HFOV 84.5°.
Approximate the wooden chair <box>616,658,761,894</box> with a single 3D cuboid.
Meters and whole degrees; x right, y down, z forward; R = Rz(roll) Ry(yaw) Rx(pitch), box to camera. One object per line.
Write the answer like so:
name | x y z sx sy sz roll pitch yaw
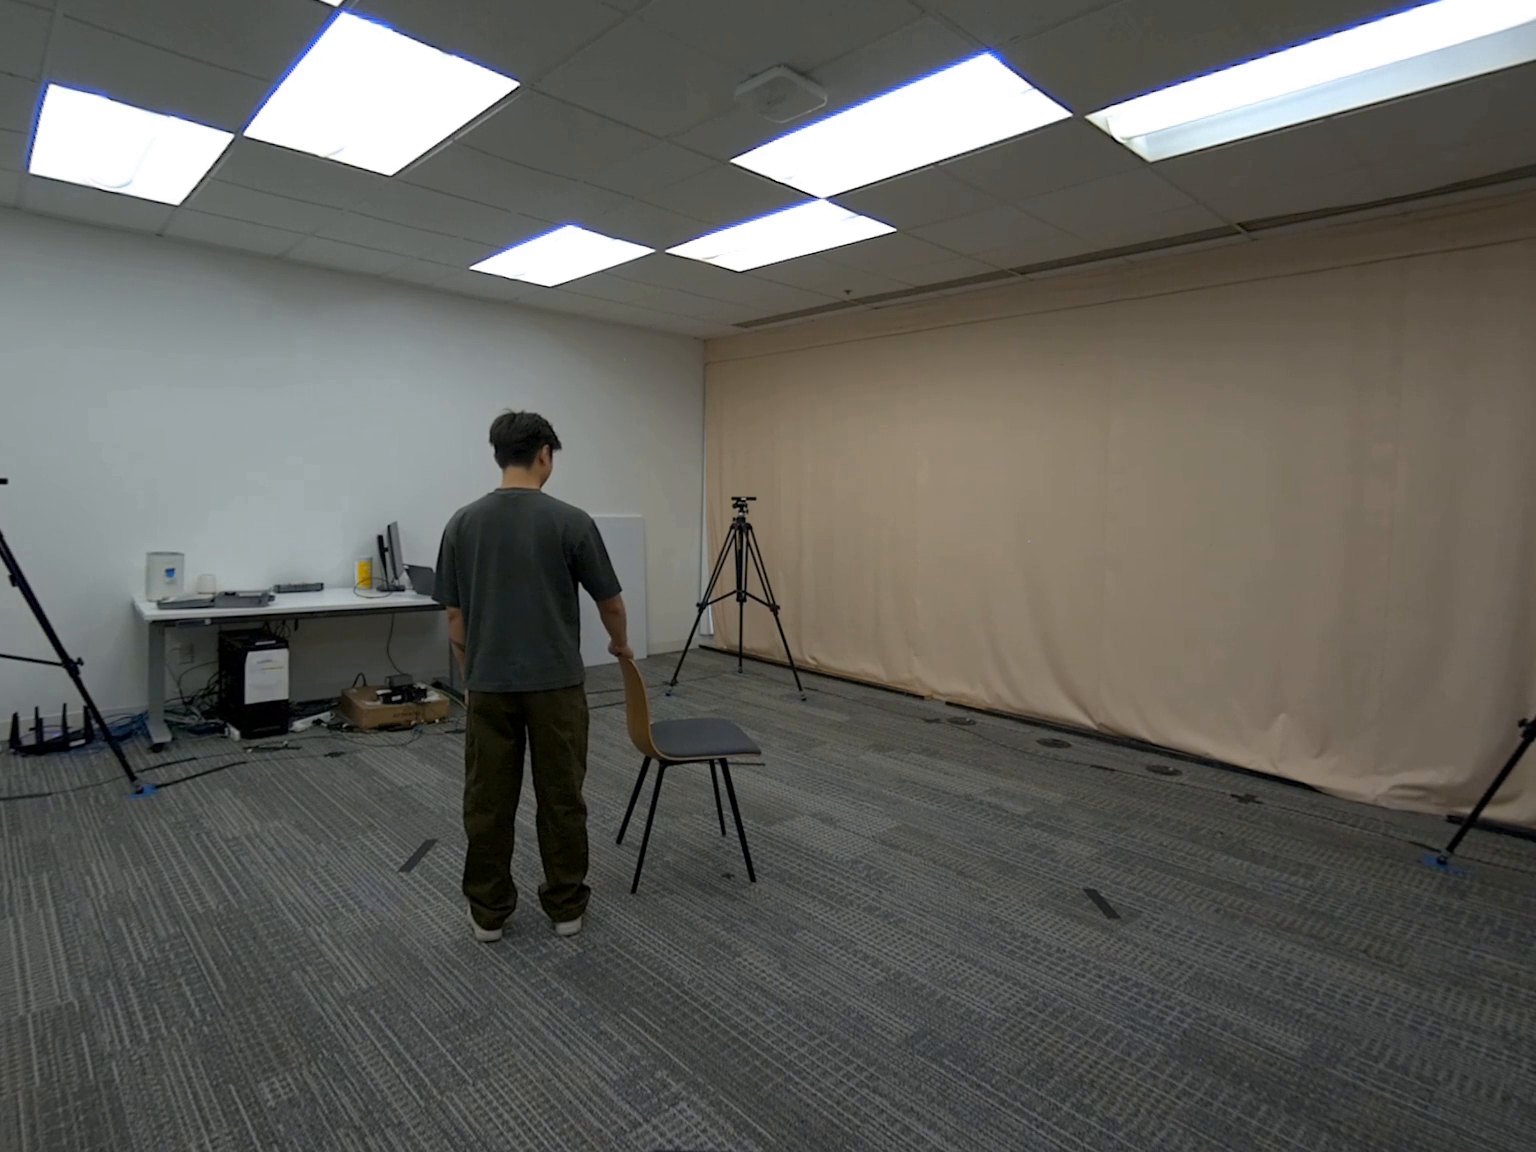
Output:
wooden chair | -0.314 0.668 3.187 0.517 0.875 0.485 -4 4 -16
